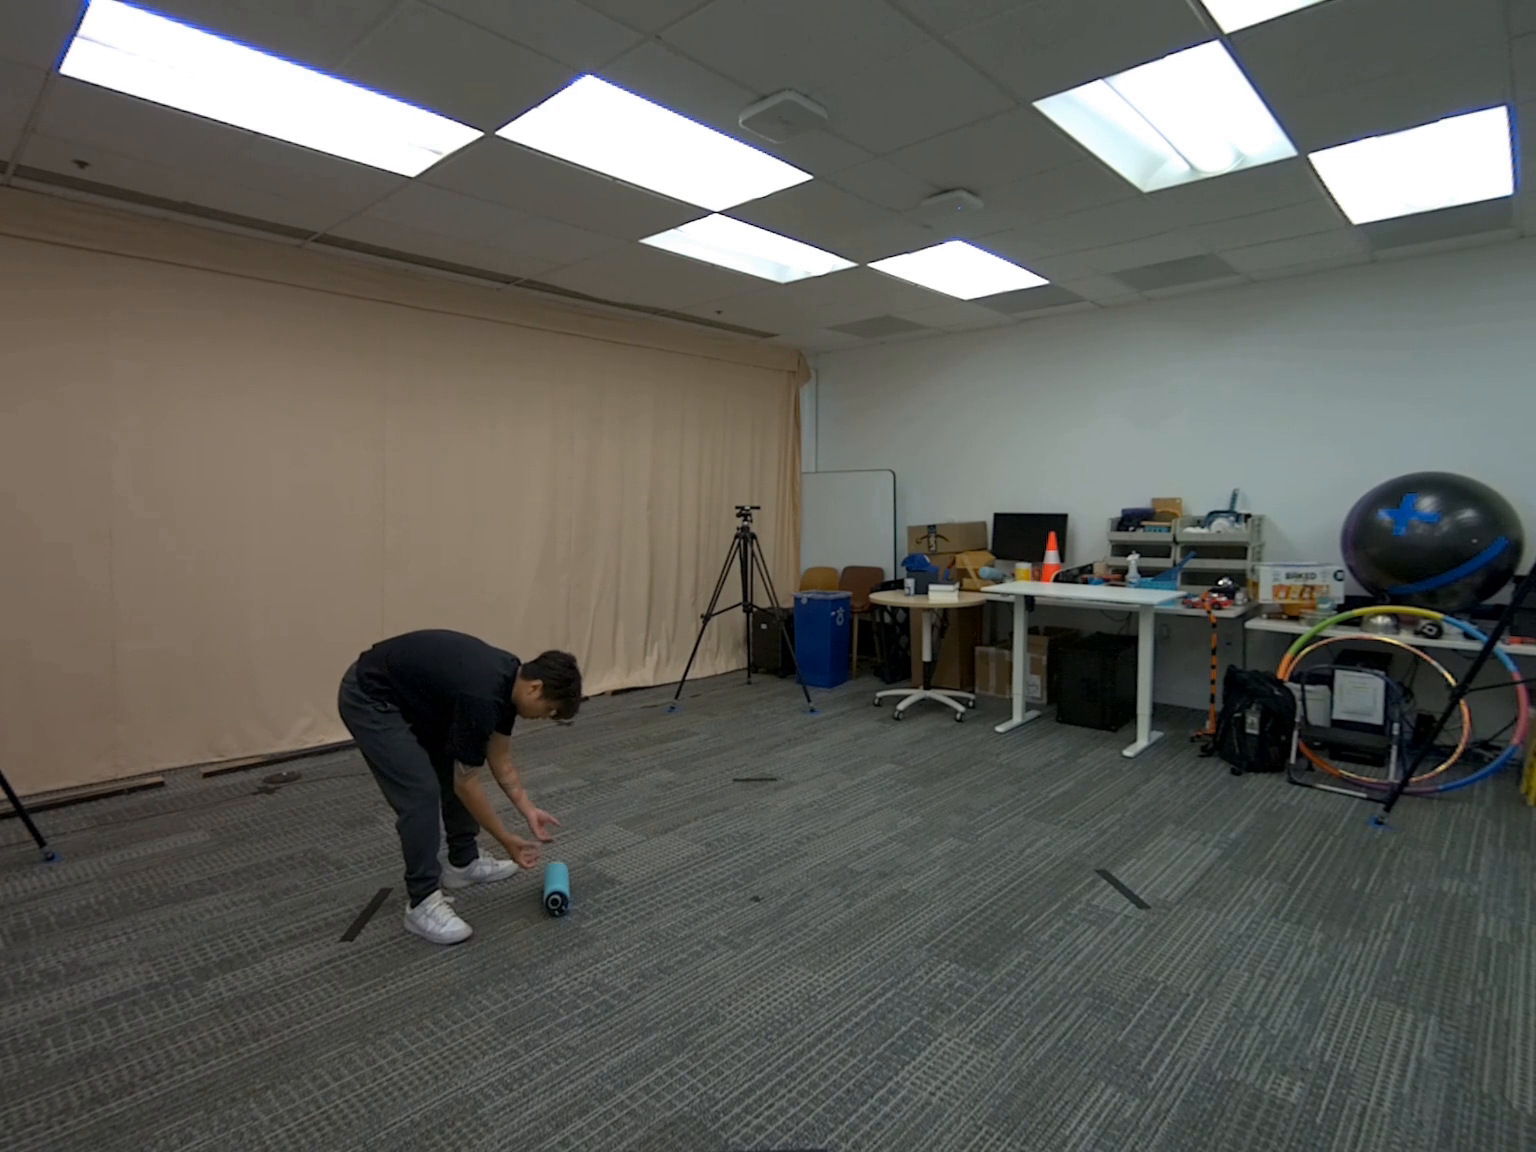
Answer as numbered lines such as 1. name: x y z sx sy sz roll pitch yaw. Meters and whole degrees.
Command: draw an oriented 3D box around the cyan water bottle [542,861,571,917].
1. cyan water bottle: -0.750 1.105 2.967 0.091 0.092 0.287 -1 5 -13
